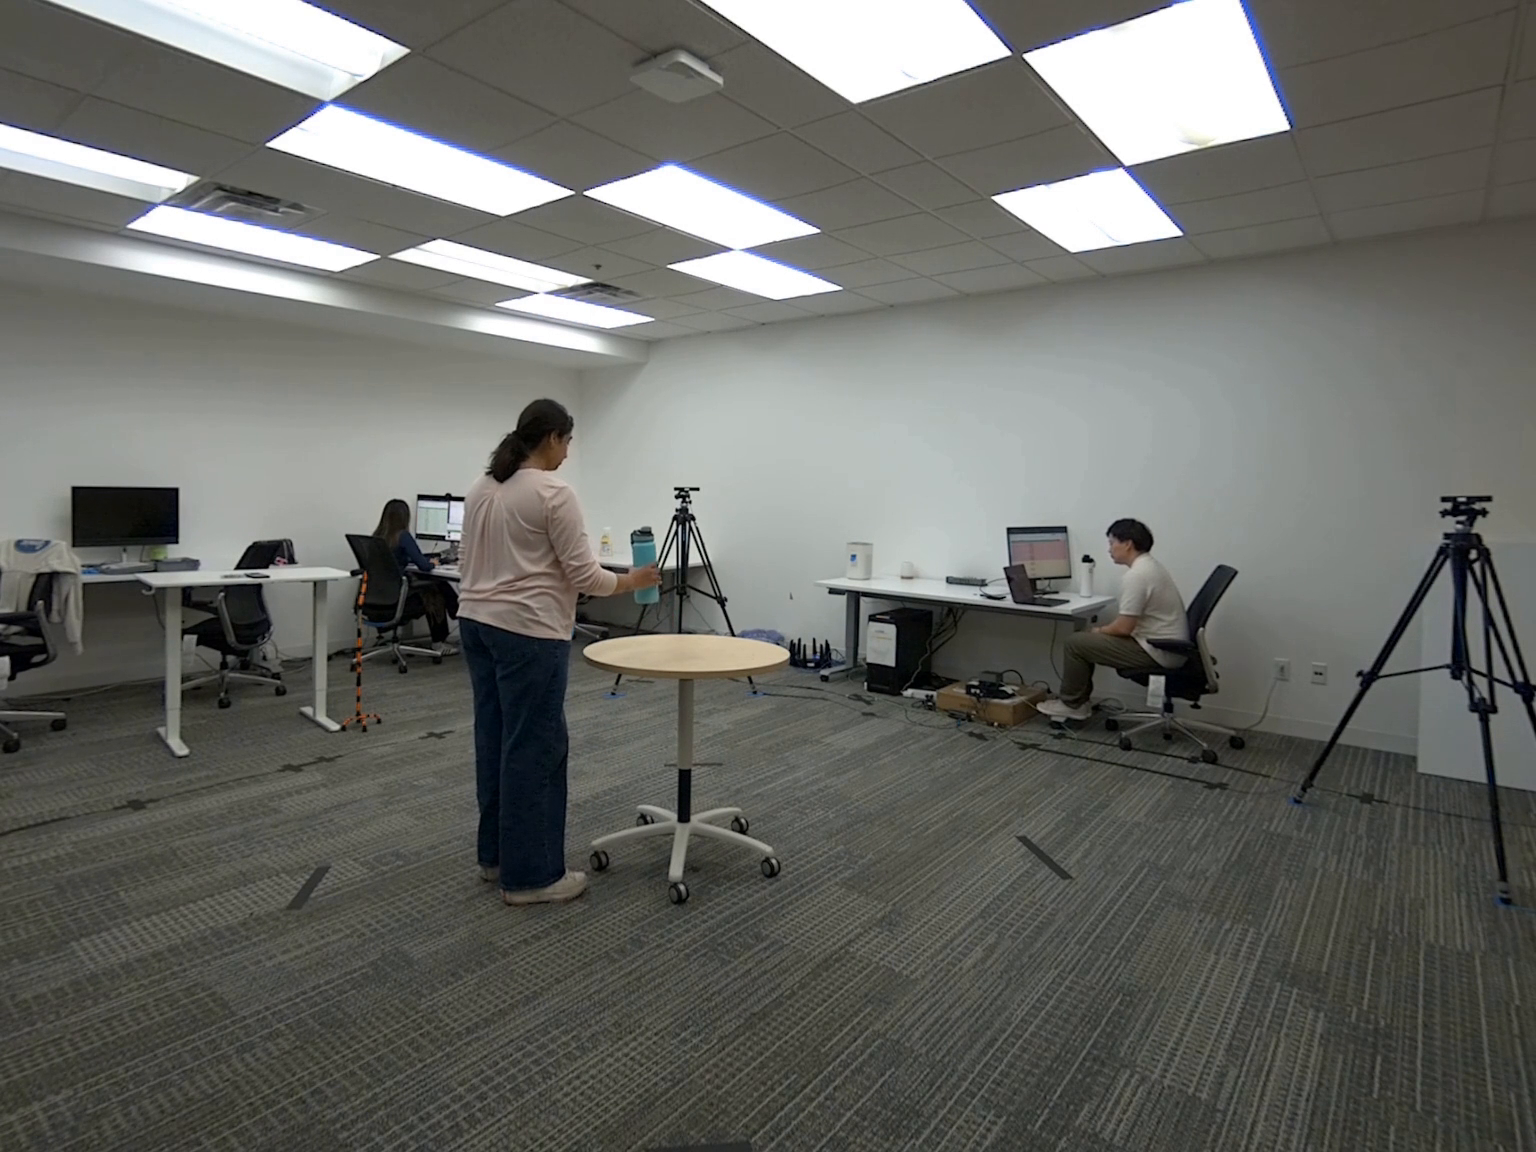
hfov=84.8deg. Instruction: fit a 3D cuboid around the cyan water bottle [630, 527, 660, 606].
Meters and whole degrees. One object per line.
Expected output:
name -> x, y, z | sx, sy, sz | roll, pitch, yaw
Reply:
cyan water bottle -> -0.481, -0.045, 3.181 | 0.092, 0.282, 0.093 | -3, 4, -2
